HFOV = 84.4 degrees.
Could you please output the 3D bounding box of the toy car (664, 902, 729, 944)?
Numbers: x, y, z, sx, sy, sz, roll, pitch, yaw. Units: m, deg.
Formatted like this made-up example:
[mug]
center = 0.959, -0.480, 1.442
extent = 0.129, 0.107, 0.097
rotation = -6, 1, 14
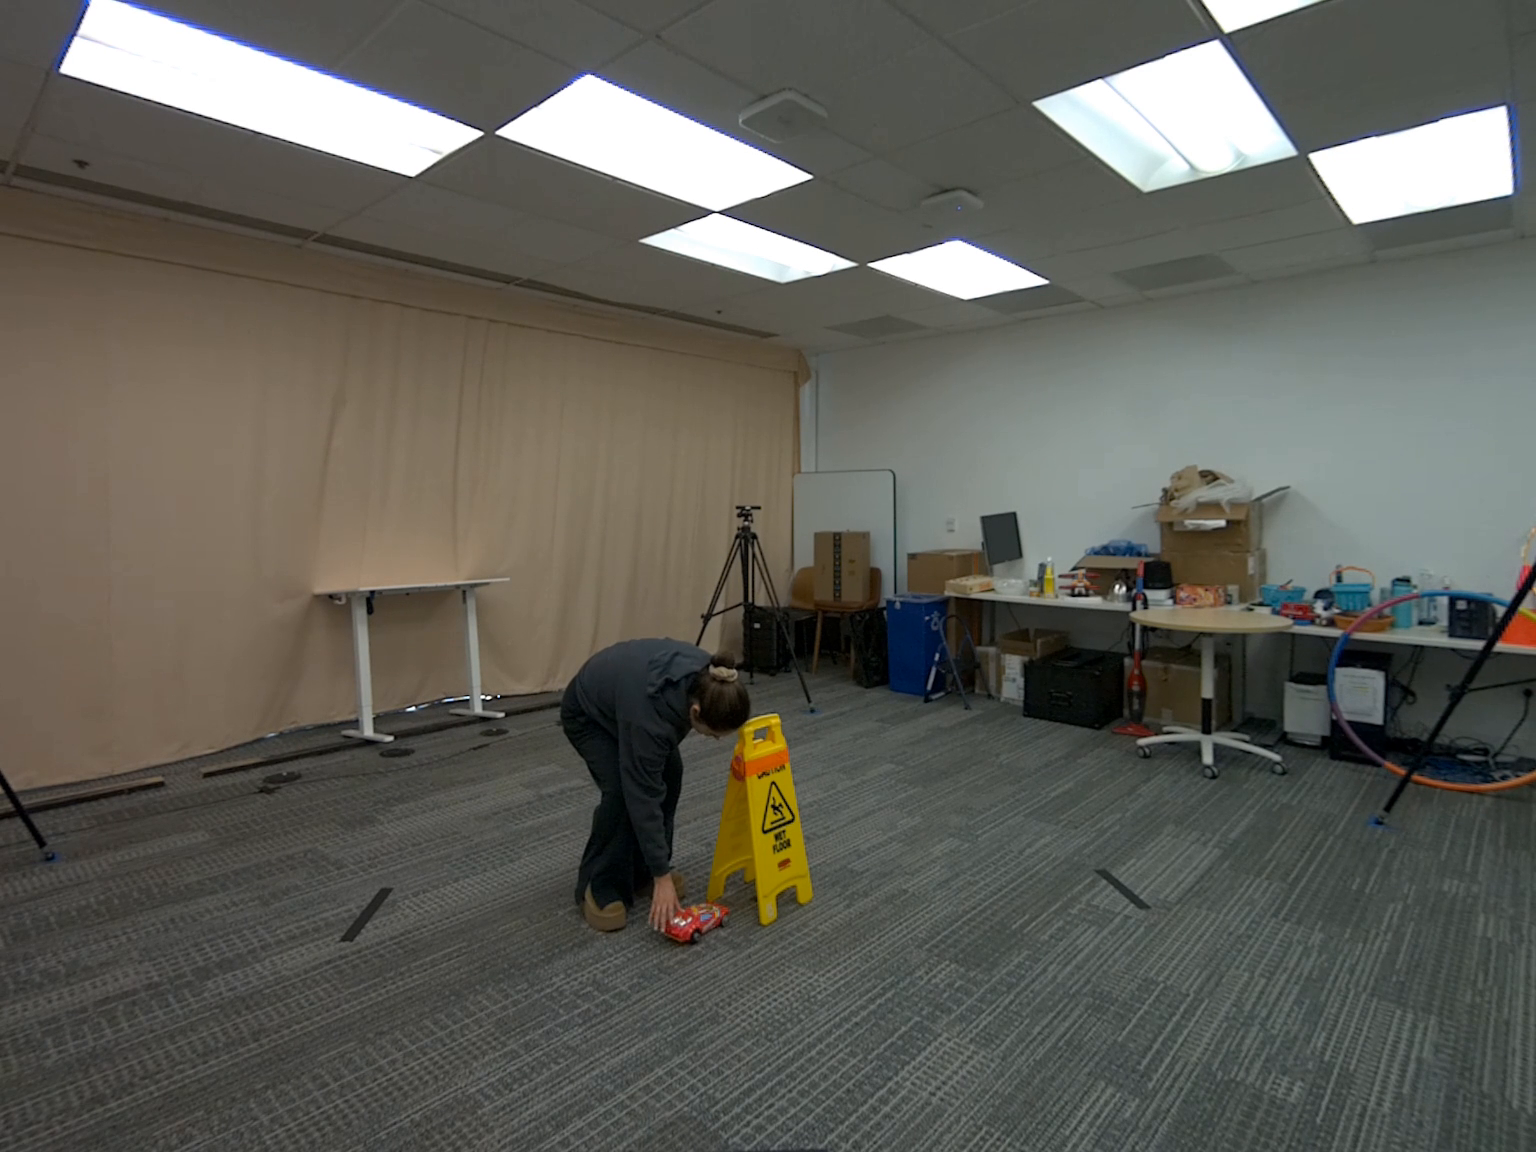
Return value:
[toy car]
center = -0.225, 1.138, 2.741
extent = 0.134, 0.083, 0.246
rotation = 2, -7, 40
